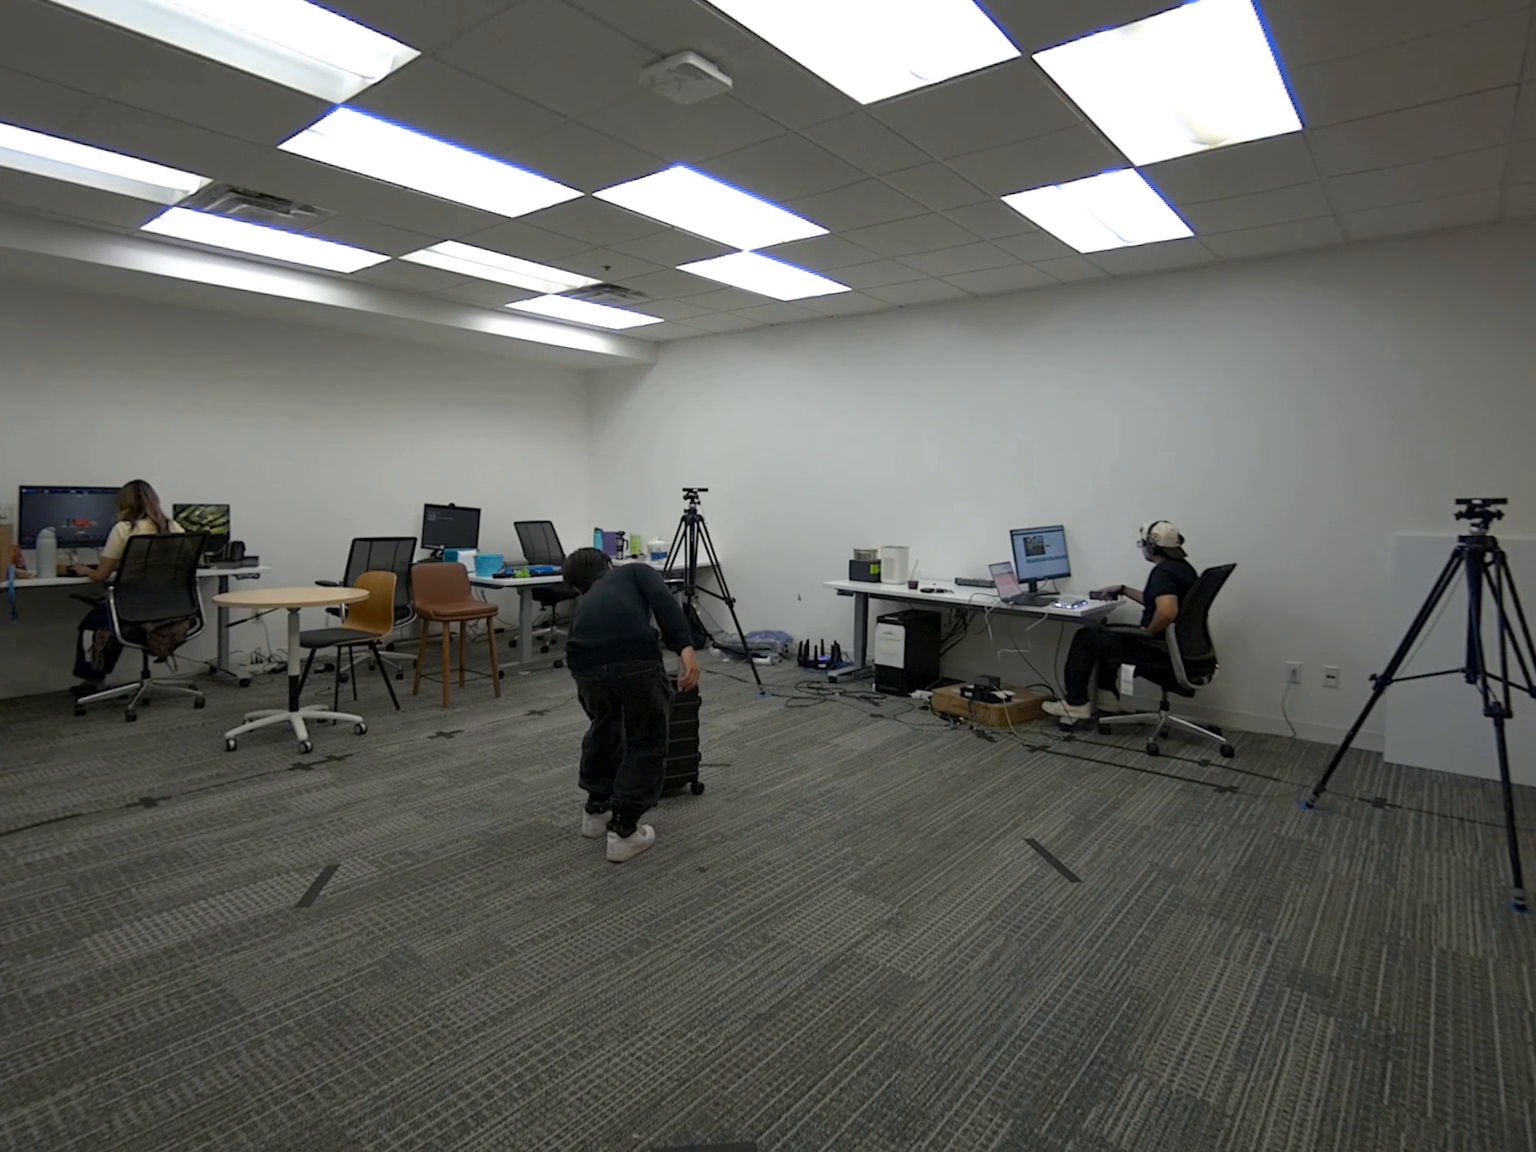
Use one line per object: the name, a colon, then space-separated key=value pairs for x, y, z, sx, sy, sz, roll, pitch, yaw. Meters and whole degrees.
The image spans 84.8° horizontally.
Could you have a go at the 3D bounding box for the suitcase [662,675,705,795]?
suitcase: x=-0.522 y=0.511 z=3.888 sx=0.374 sy=0.977 sz=0.264 roll=-2 pitch=2 yaw=-30
